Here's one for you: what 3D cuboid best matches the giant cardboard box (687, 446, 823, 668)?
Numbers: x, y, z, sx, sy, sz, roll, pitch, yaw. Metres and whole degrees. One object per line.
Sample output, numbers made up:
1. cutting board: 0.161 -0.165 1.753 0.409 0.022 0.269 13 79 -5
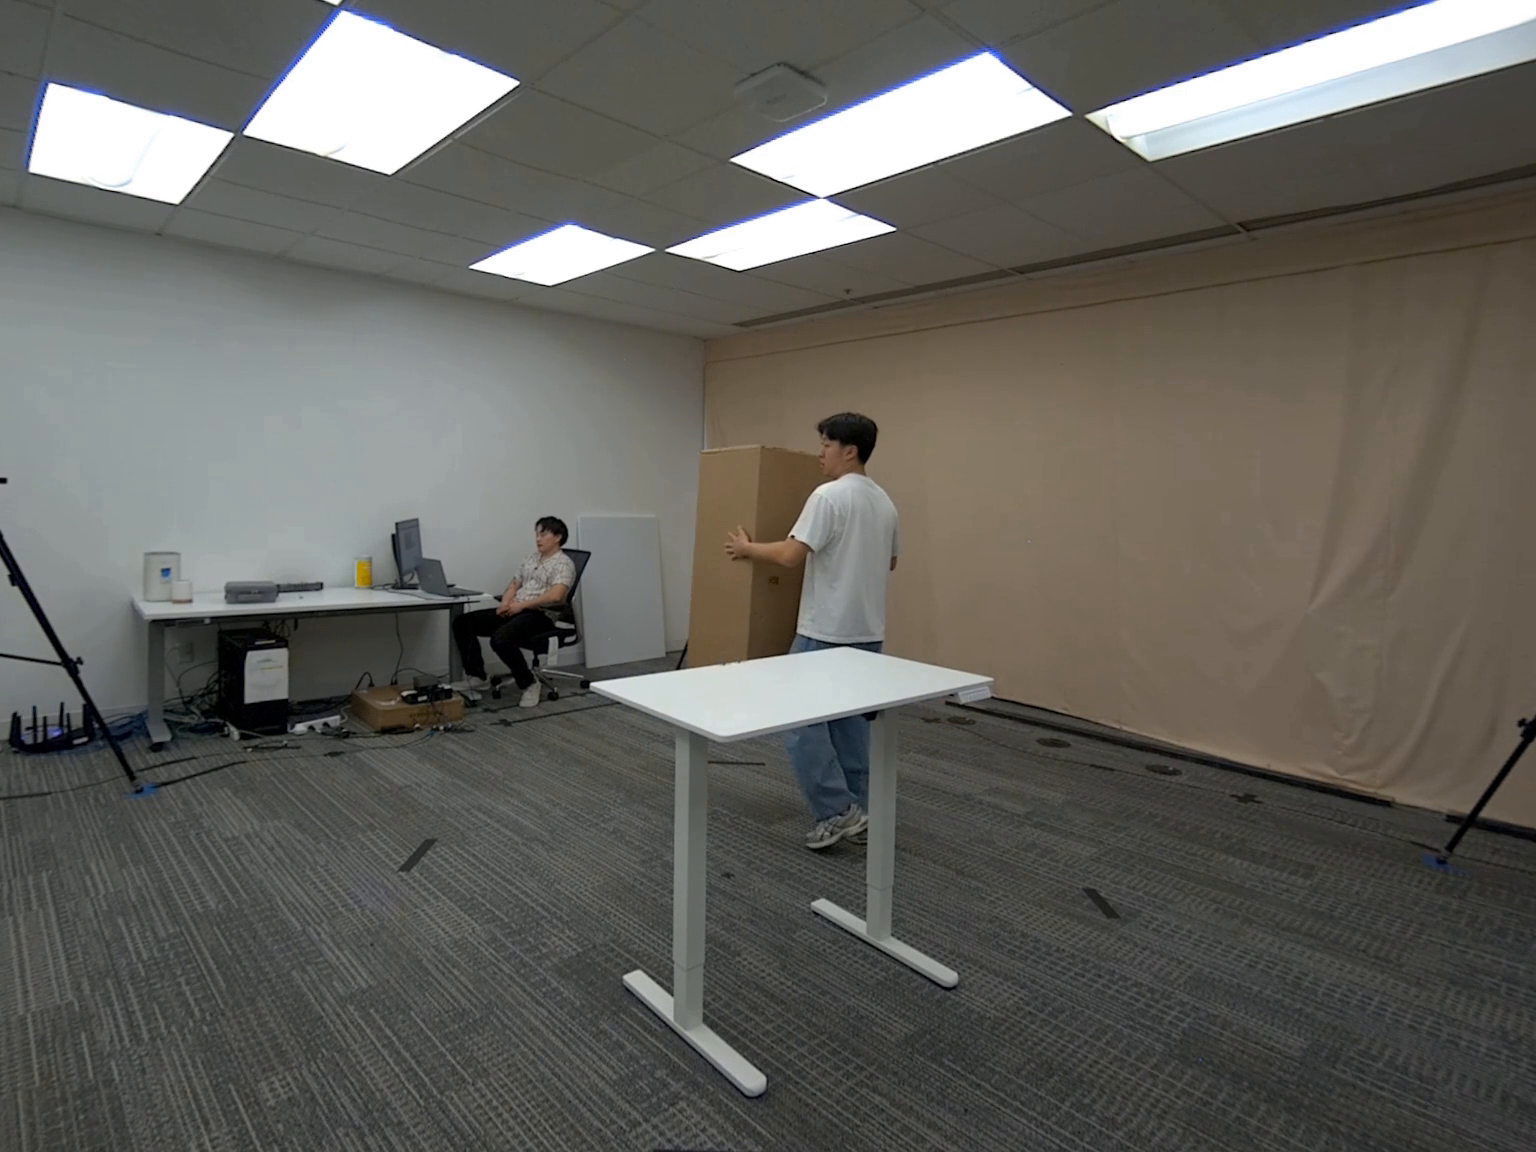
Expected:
1. giant cardboard box: 0.005 -0.024 3.747 0.563 1.026 0.437 4 0 -39
